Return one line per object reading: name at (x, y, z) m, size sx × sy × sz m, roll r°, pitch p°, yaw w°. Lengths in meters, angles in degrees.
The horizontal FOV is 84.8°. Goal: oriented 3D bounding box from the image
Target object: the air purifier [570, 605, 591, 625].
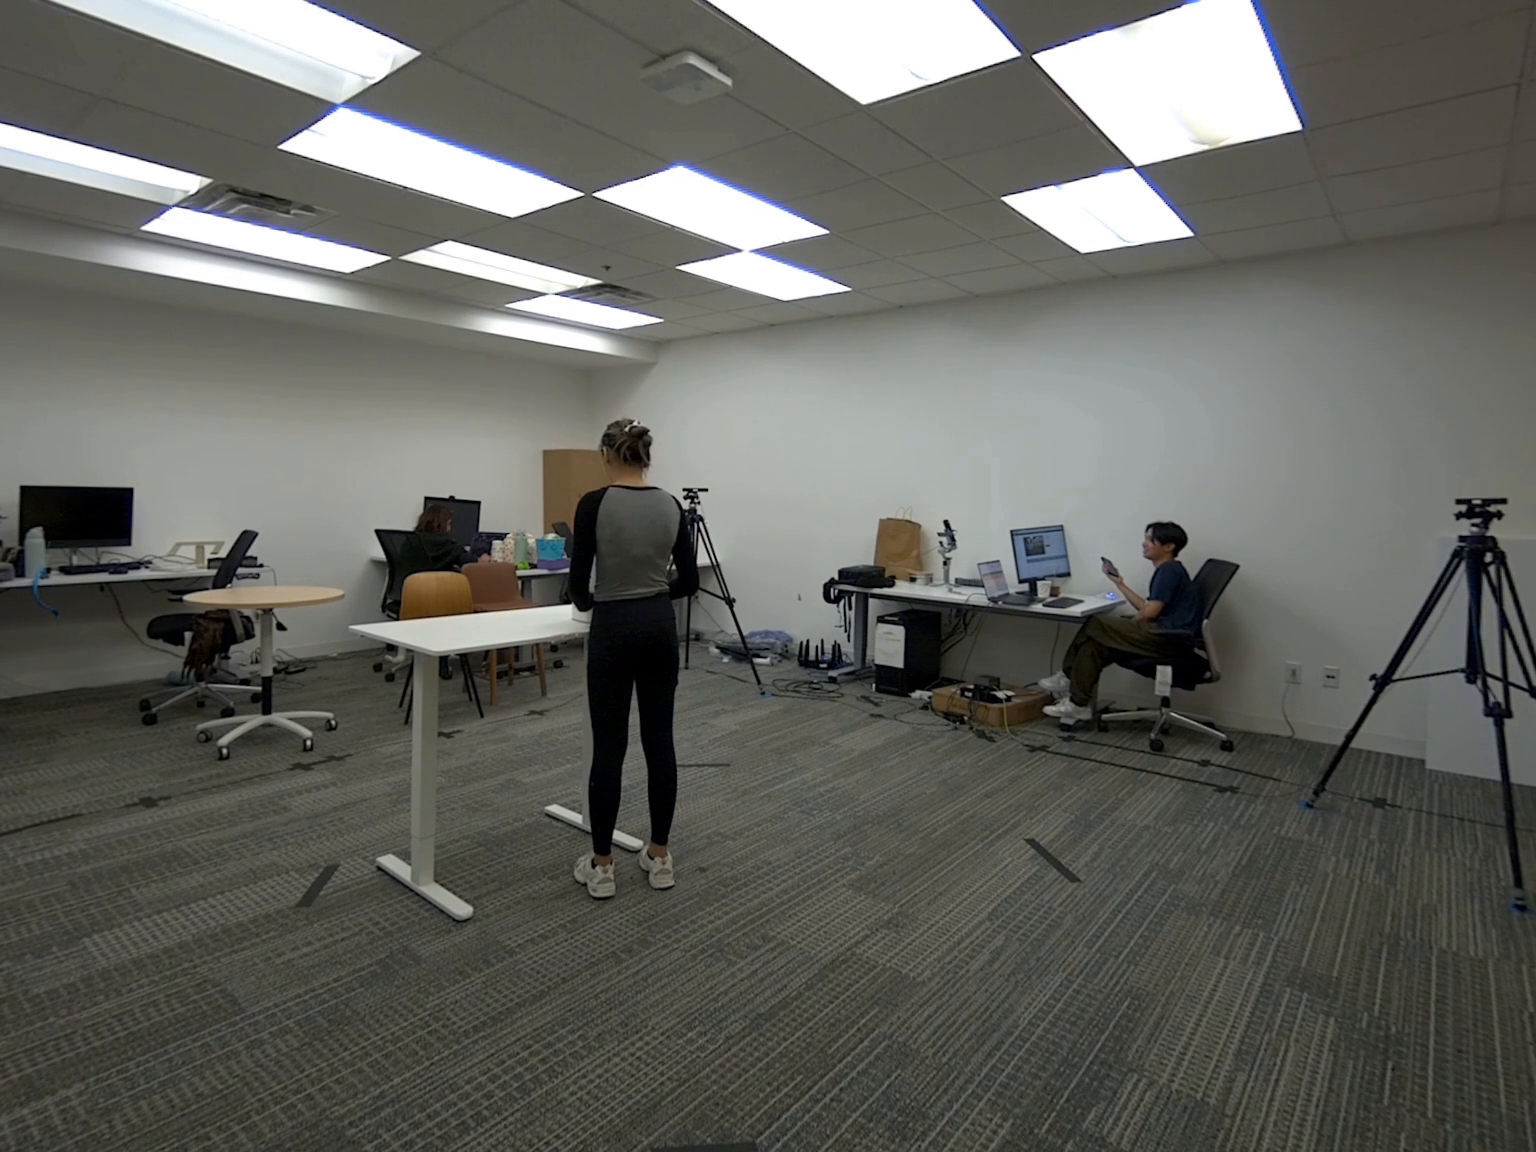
air purifier at (-0.661, 0.033, 3.269) m, size 0.166 × 0.265 × 0.177 m, roll 1°, pitch 3°, yaw -38°
